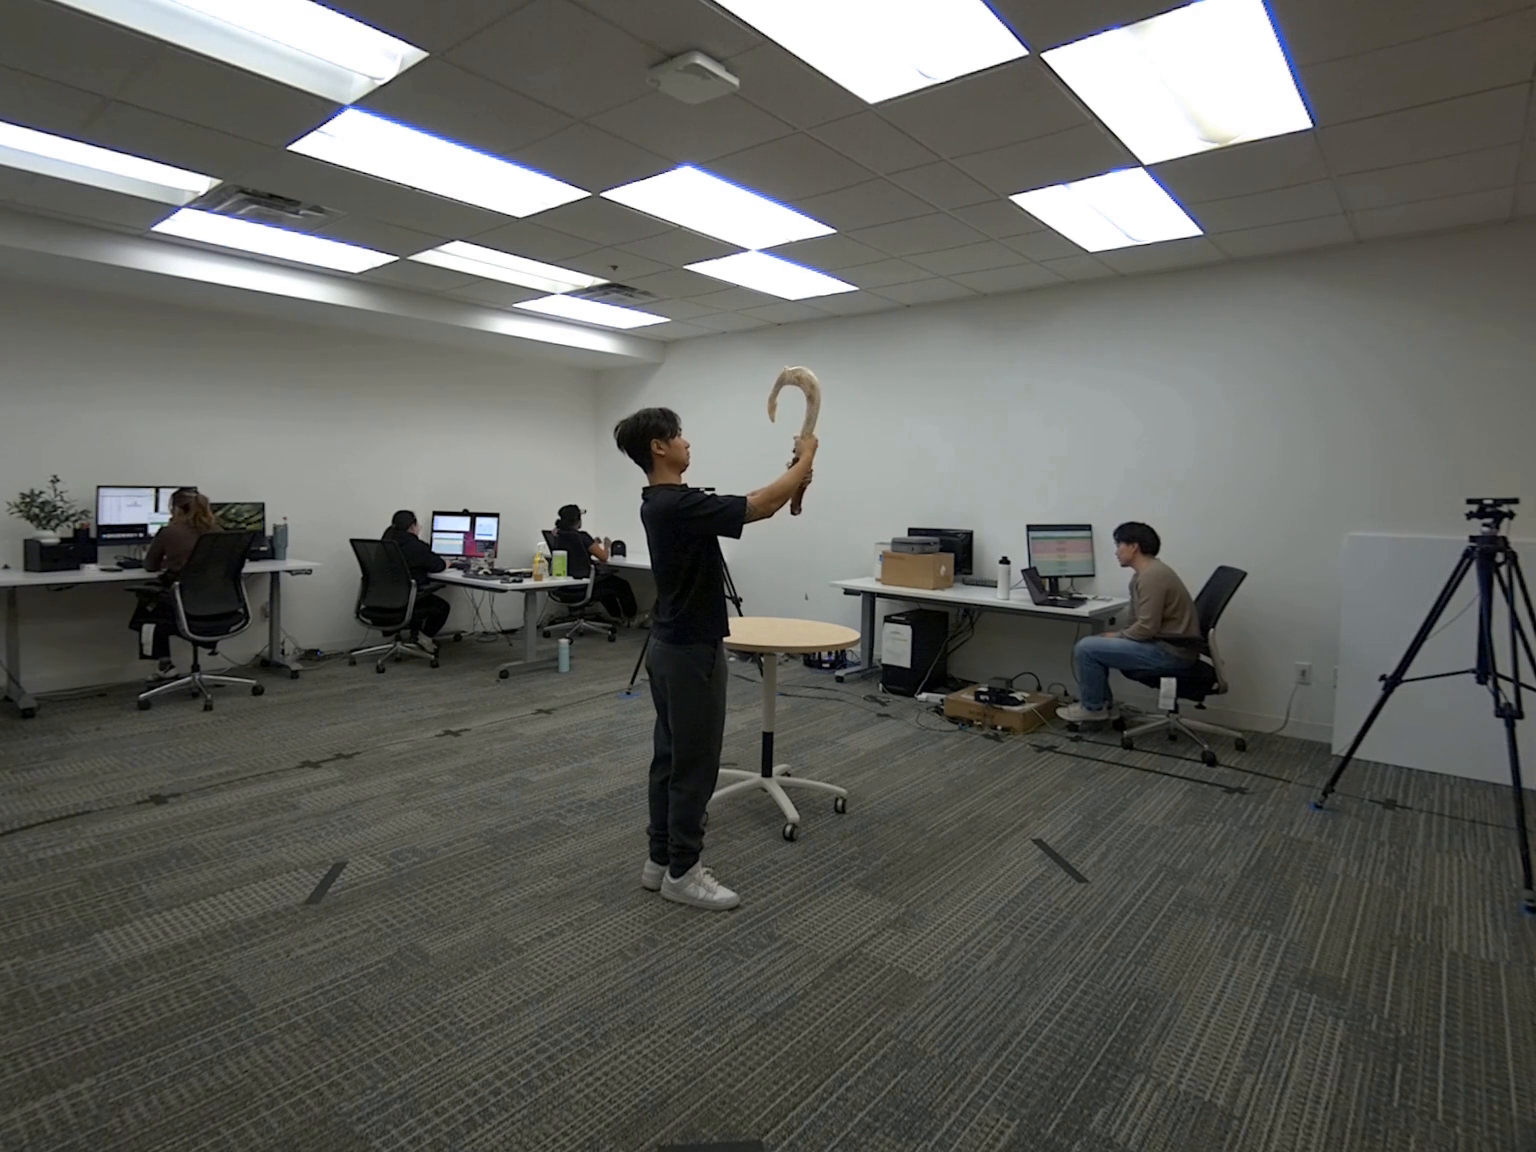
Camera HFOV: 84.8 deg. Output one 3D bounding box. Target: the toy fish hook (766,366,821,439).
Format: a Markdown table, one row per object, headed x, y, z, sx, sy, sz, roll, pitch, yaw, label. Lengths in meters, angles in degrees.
| x | y | z | sx | sy | sz | roll | pitch | yaw | label |
| --- | --- | --- | --- | --- | --- | --- | --- | --- | --- |
| 0.064 | -0.468 | 2.944 | 0.047 | 0.503 | 0.233 | 0 | 11 | -44 | toy fish hook |
